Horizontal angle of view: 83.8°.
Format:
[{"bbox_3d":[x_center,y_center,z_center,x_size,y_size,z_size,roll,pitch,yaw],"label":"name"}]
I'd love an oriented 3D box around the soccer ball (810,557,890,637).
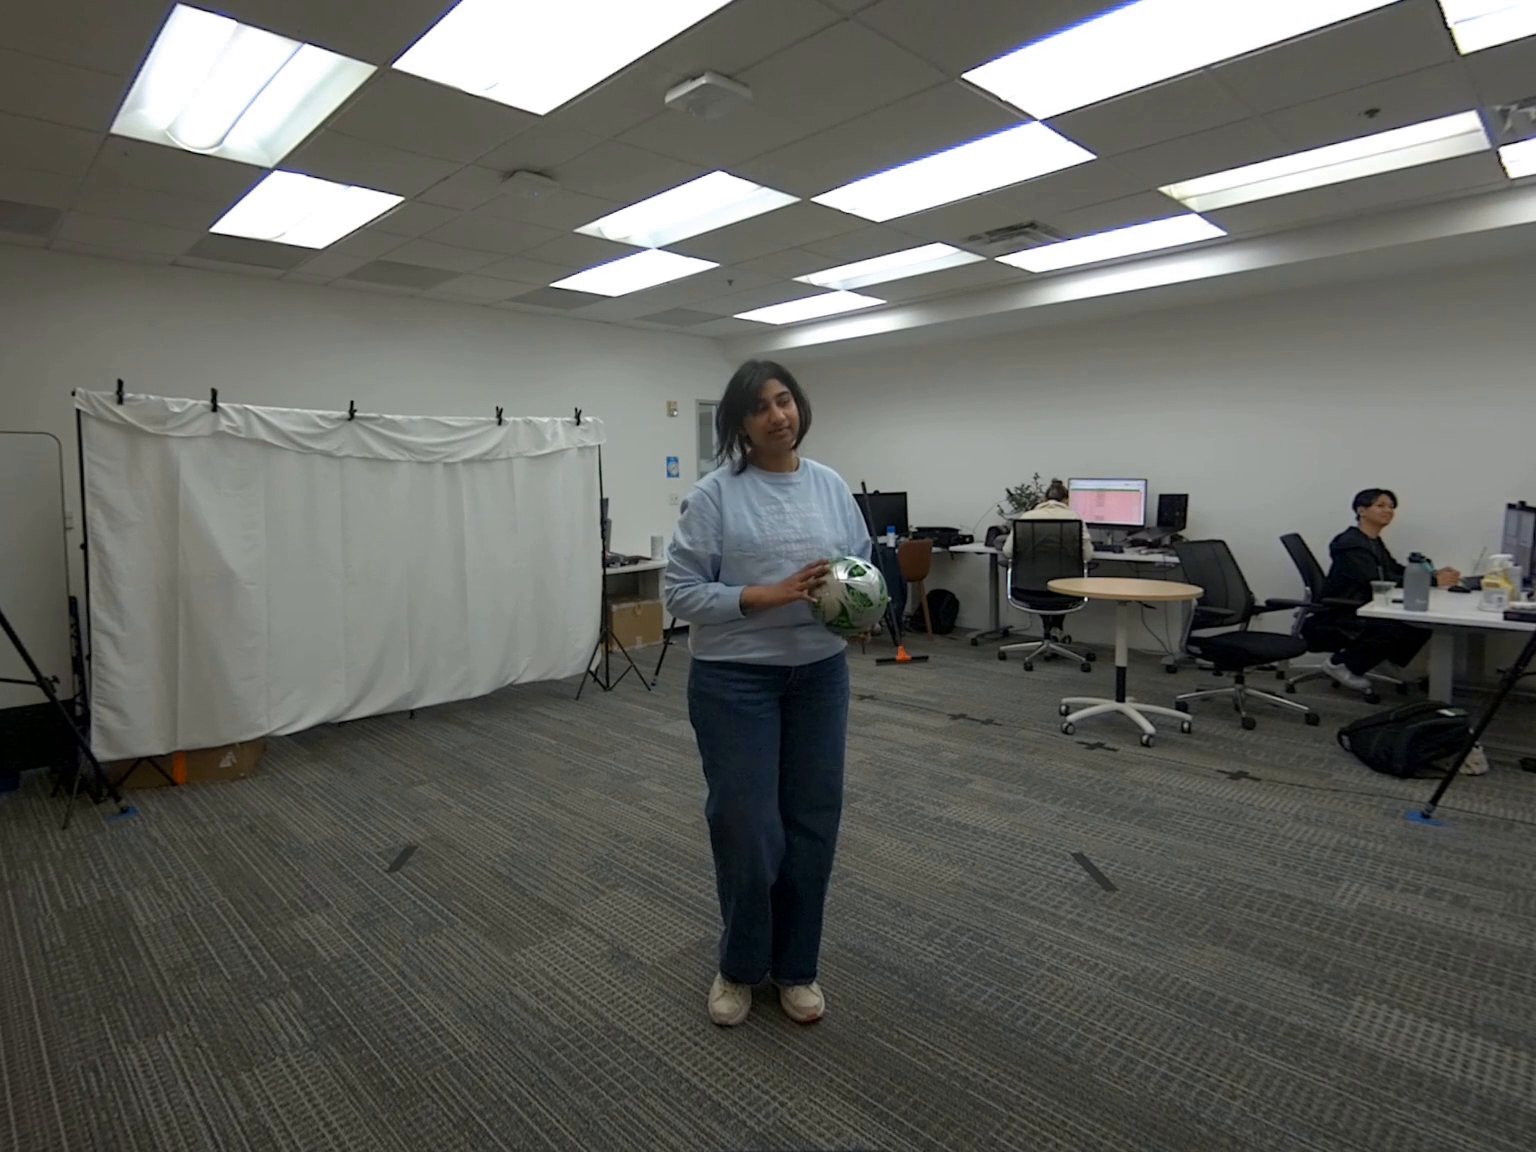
[{"bbox_3d":[0.181,0.054,2.010,0.187,0.187,0.188,-1,5,-2],"label":"soccer ball"}]
